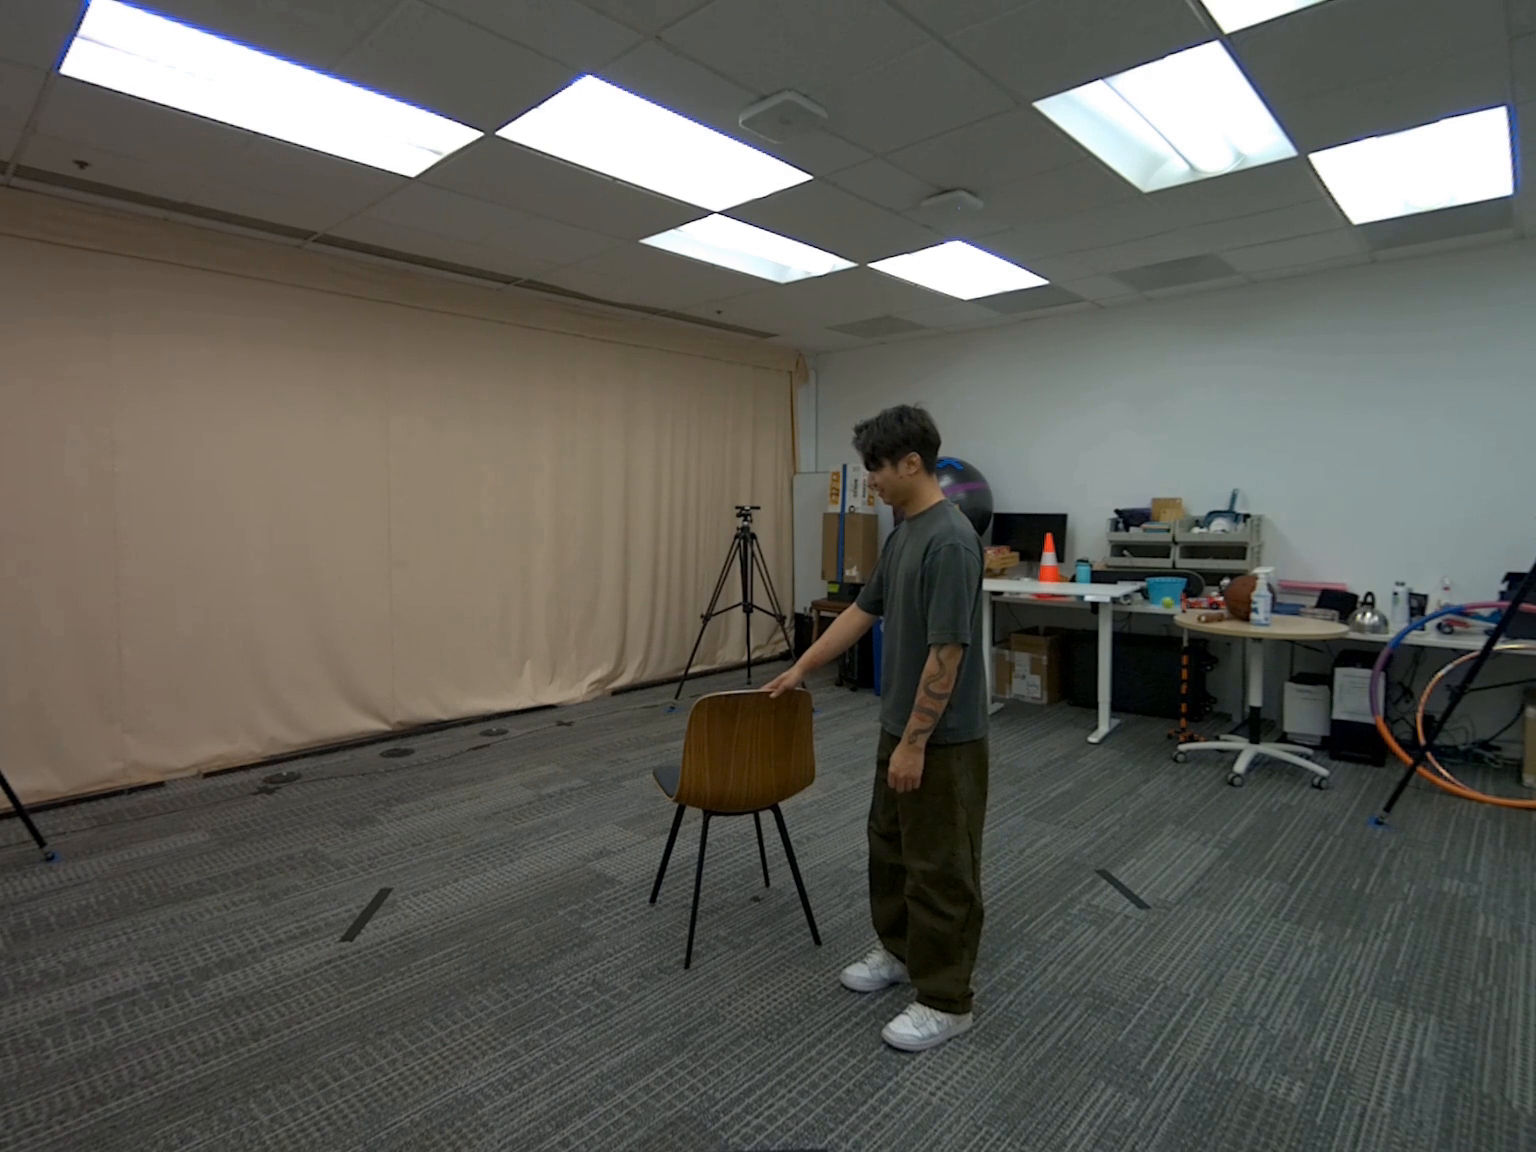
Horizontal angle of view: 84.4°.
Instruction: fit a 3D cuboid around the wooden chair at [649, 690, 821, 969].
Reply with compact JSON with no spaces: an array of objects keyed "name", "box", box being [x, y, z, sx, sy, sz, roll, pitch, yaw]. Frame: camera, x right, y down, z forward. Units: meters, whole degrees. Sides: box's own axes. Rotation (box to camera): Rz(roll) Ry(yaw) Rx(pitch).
[{"name":"wooden chair","box":[-0.123,0.734,2.787,0.469,0.873,0.536,-2,8,-20]}]
